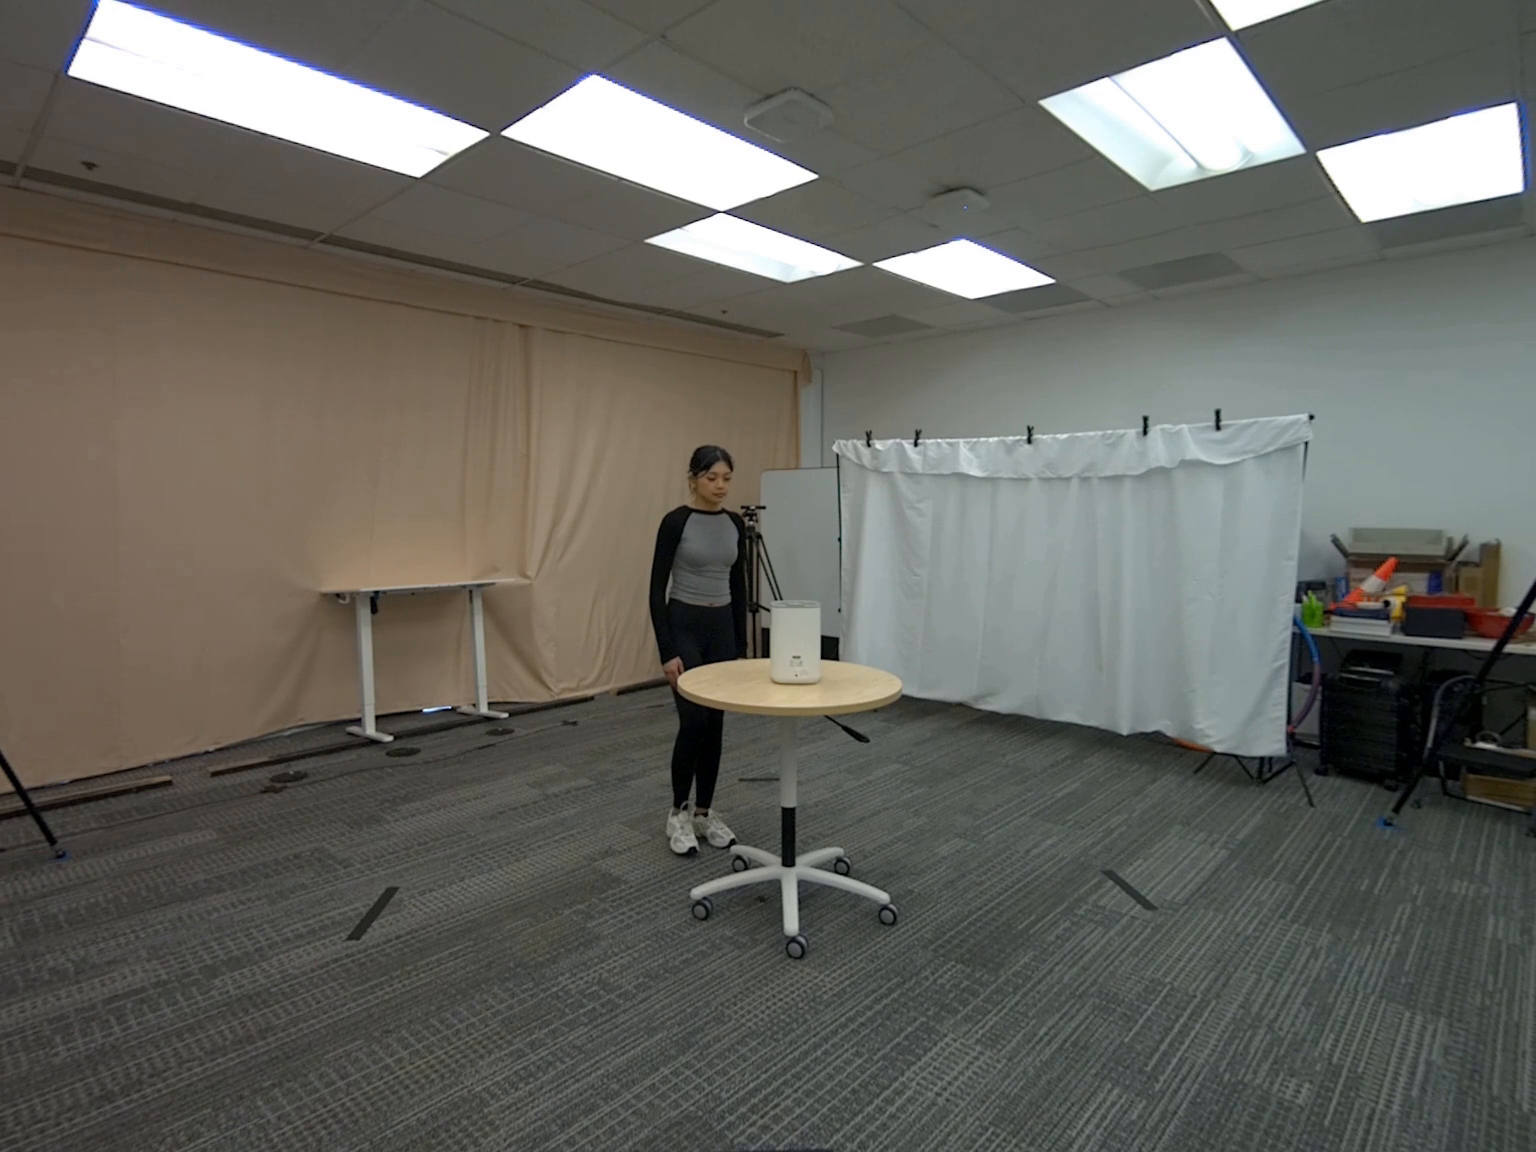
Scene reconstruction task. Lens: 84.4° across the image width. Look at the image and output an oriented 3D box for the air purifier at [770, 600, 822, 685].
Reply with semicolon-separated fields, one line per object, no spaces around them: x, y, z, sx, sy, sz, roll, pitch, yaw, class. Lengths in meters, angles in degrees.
0.100;0.227;2.879;0.170;0.265;0.173;1;4;-5;air purifier
